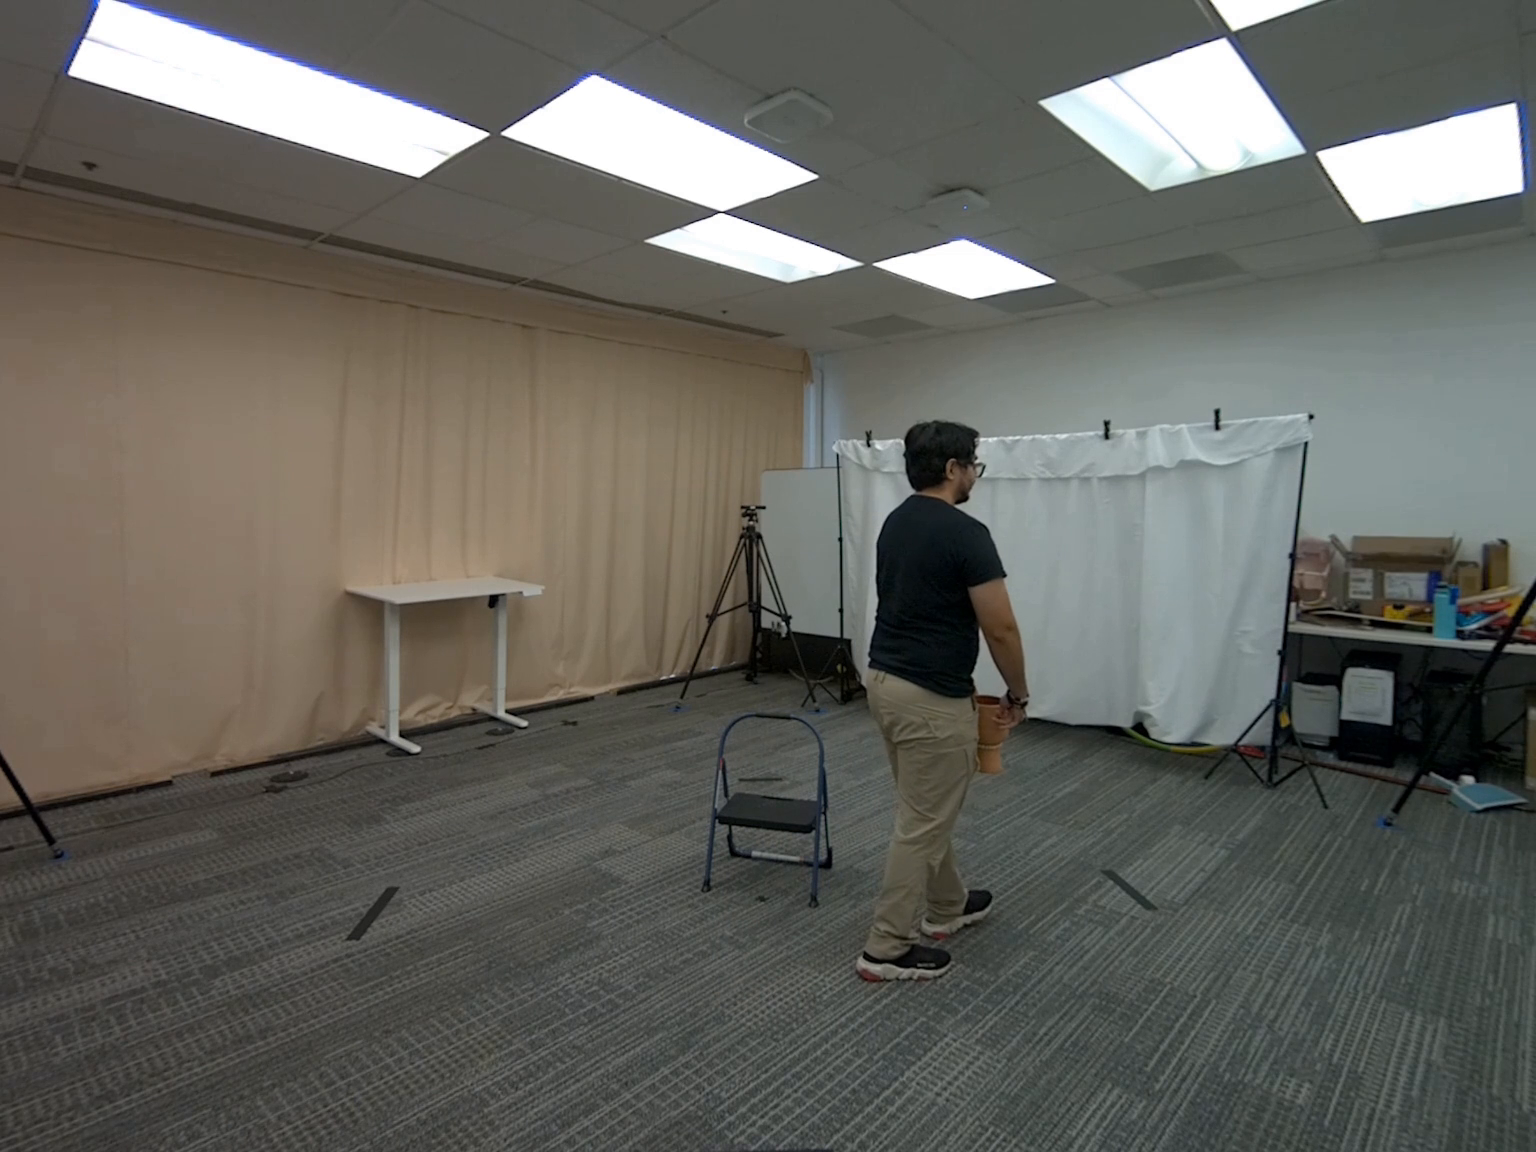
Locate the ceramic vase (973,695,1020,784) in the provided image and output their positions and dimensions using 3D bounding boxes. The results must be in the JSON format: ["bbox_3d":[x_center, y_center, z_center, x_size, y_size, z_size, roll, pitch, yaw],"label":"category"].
[{"bbox_3d":[0.701,0.502,2.636,0.138,0.219,0.155,1,4,23],"label":"ceramic vase"}]
